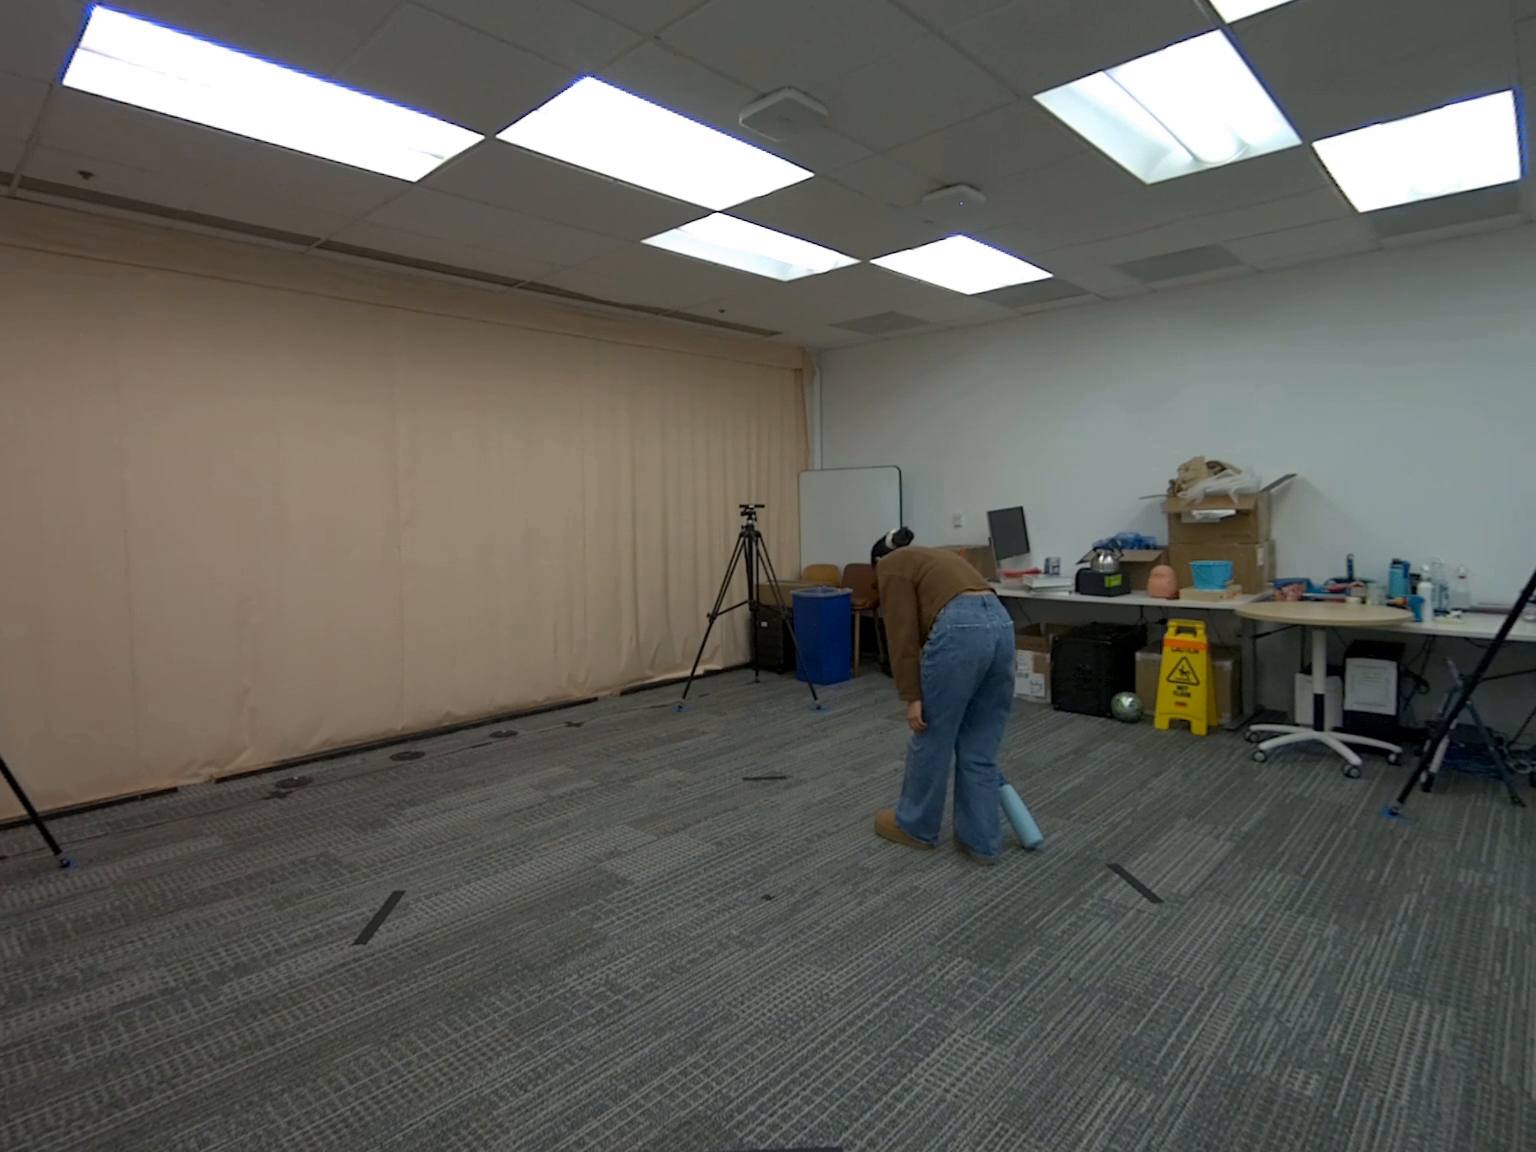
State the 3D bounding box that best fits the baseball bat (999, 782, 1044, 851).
[{"bbox_3d":[0.970,0.865,3.496,0.088,0.558,0.087,-15,-35,-13],"label":"baseball bat"}]
